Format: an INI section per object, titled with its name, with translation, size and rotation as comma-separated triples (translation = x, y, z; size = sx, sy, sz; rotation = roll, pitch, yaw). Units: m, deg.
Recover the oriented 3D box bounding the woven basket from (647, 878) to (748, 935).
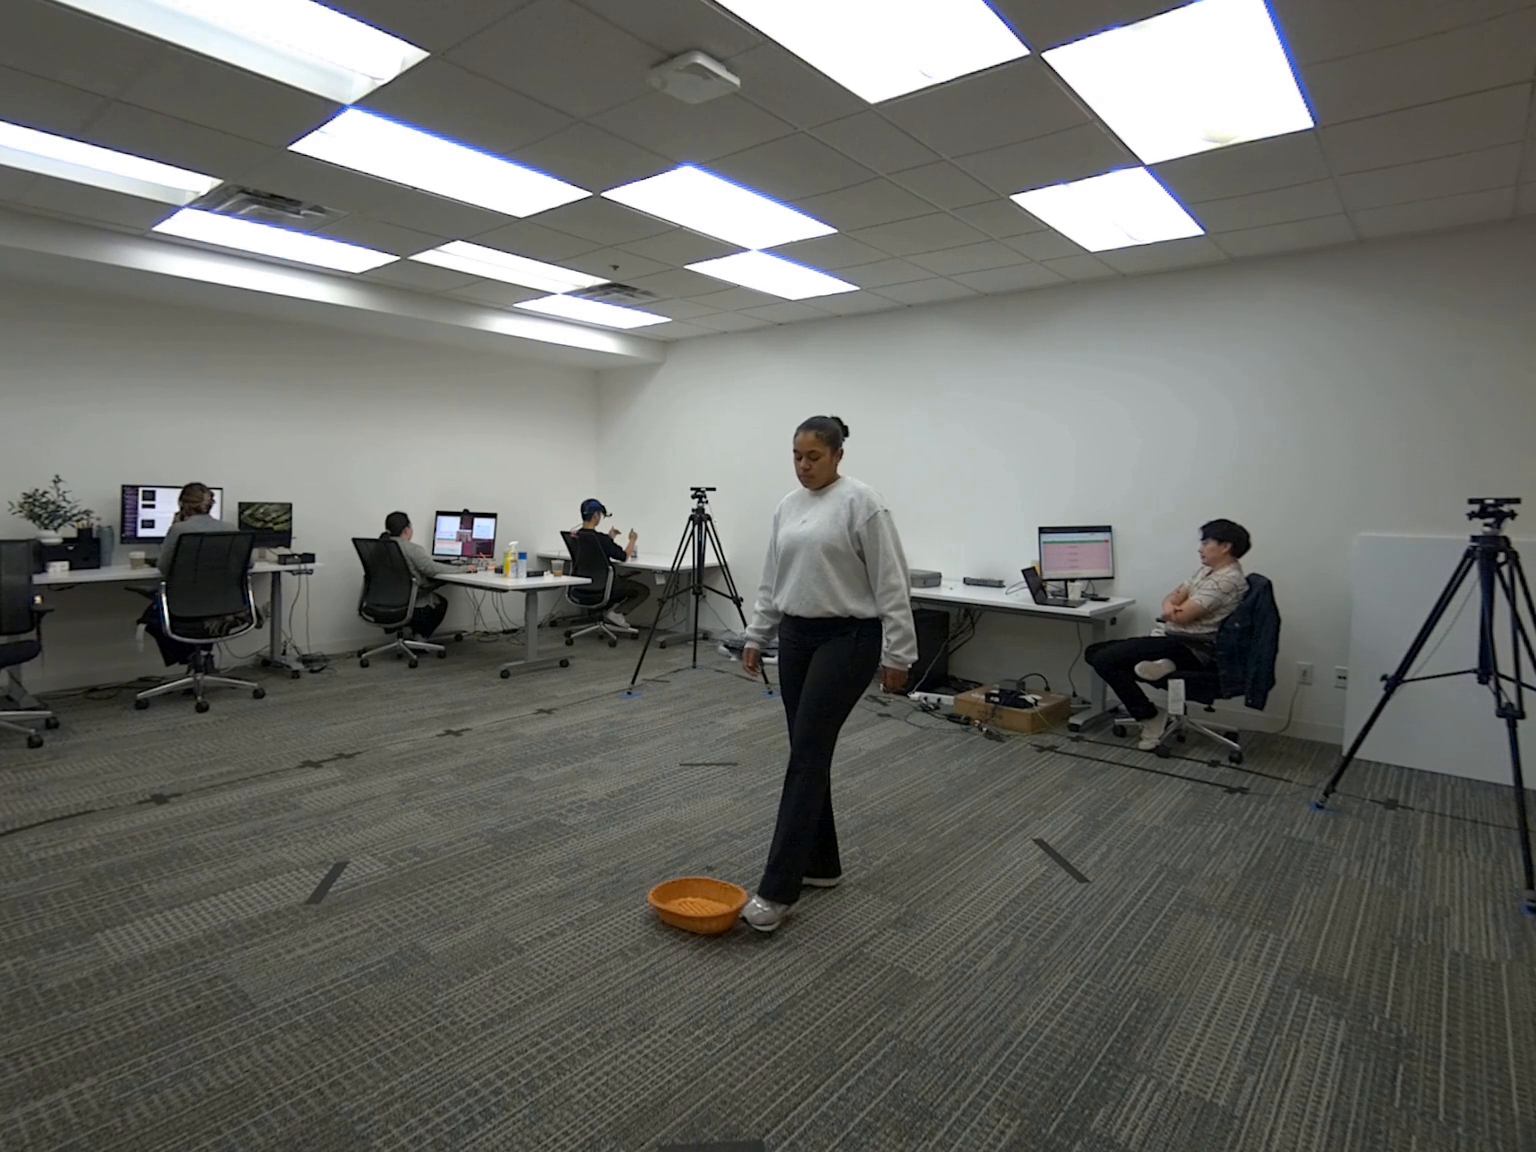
[woven basket]
translation = -0.217, 1.053, 2.725
size = 0.361, 0.073, 0.245
rotation = -2, 3, 41
